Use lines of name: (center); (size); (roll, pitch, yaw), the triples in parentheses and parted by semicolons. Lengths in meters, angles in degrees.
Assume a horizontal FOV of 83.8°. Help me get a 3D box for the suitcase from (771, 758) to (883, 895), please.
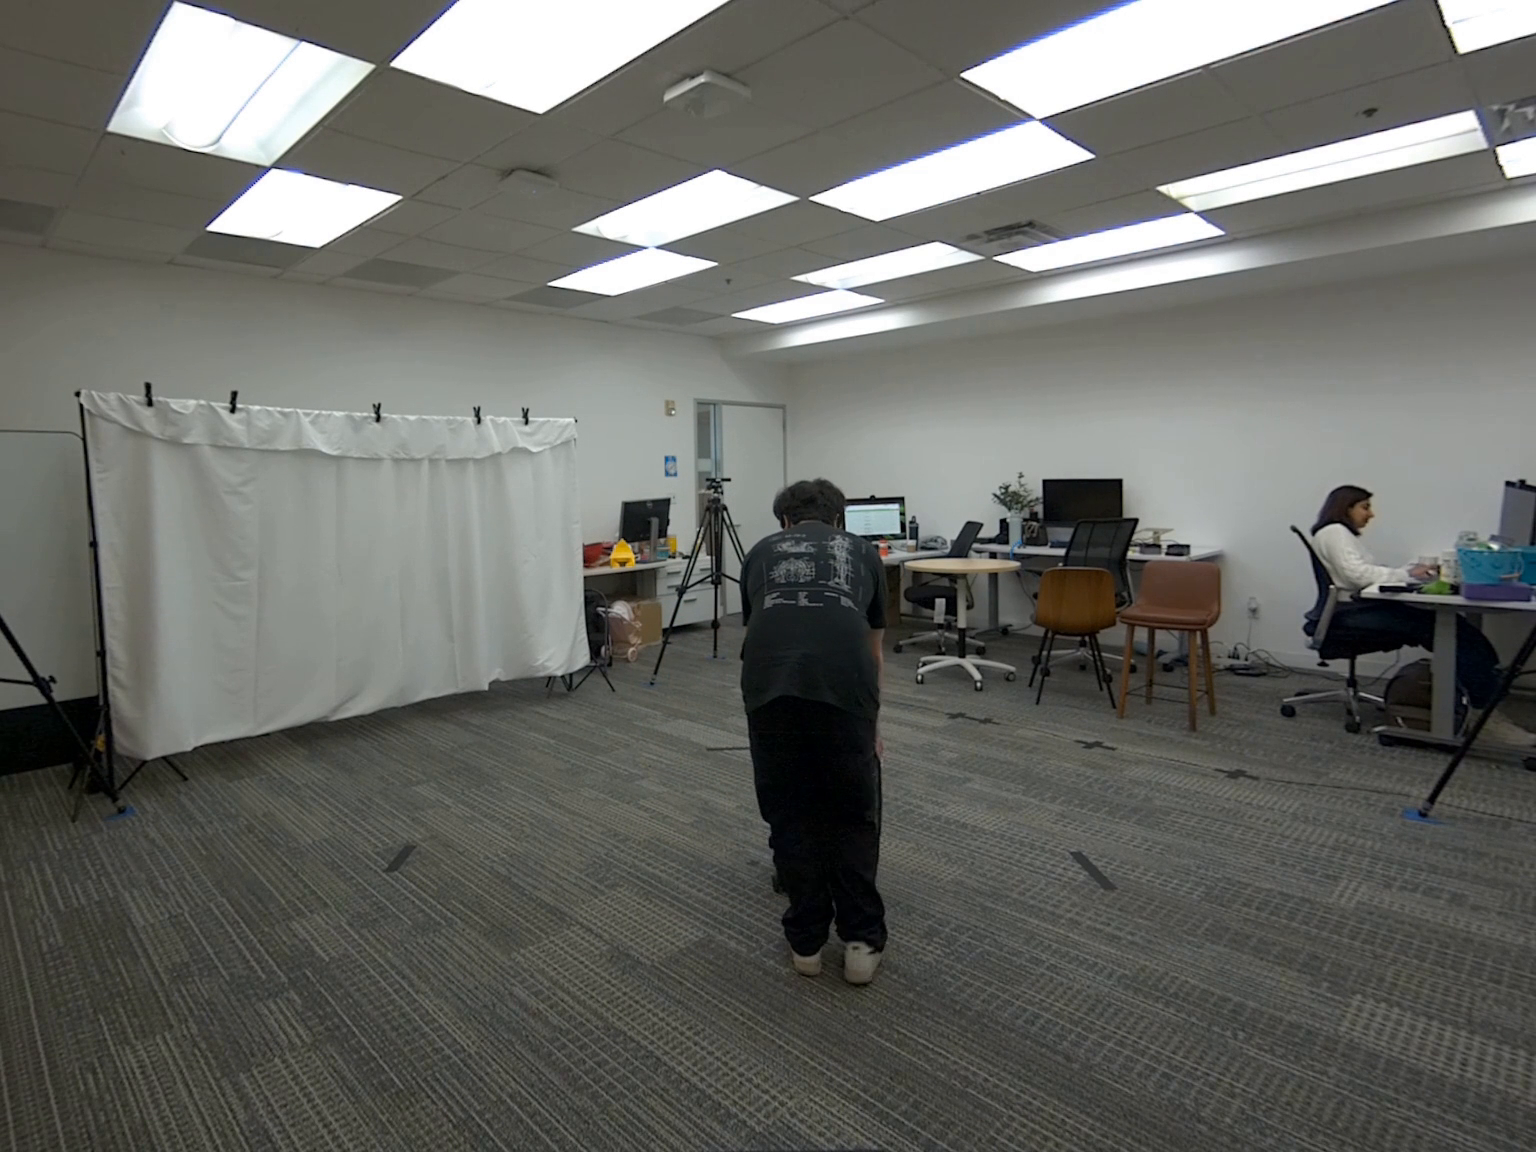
suitcase: (0.212, 0.792, 2.920); (0.379, 0.545, 0.248); (2, 8, 8)
